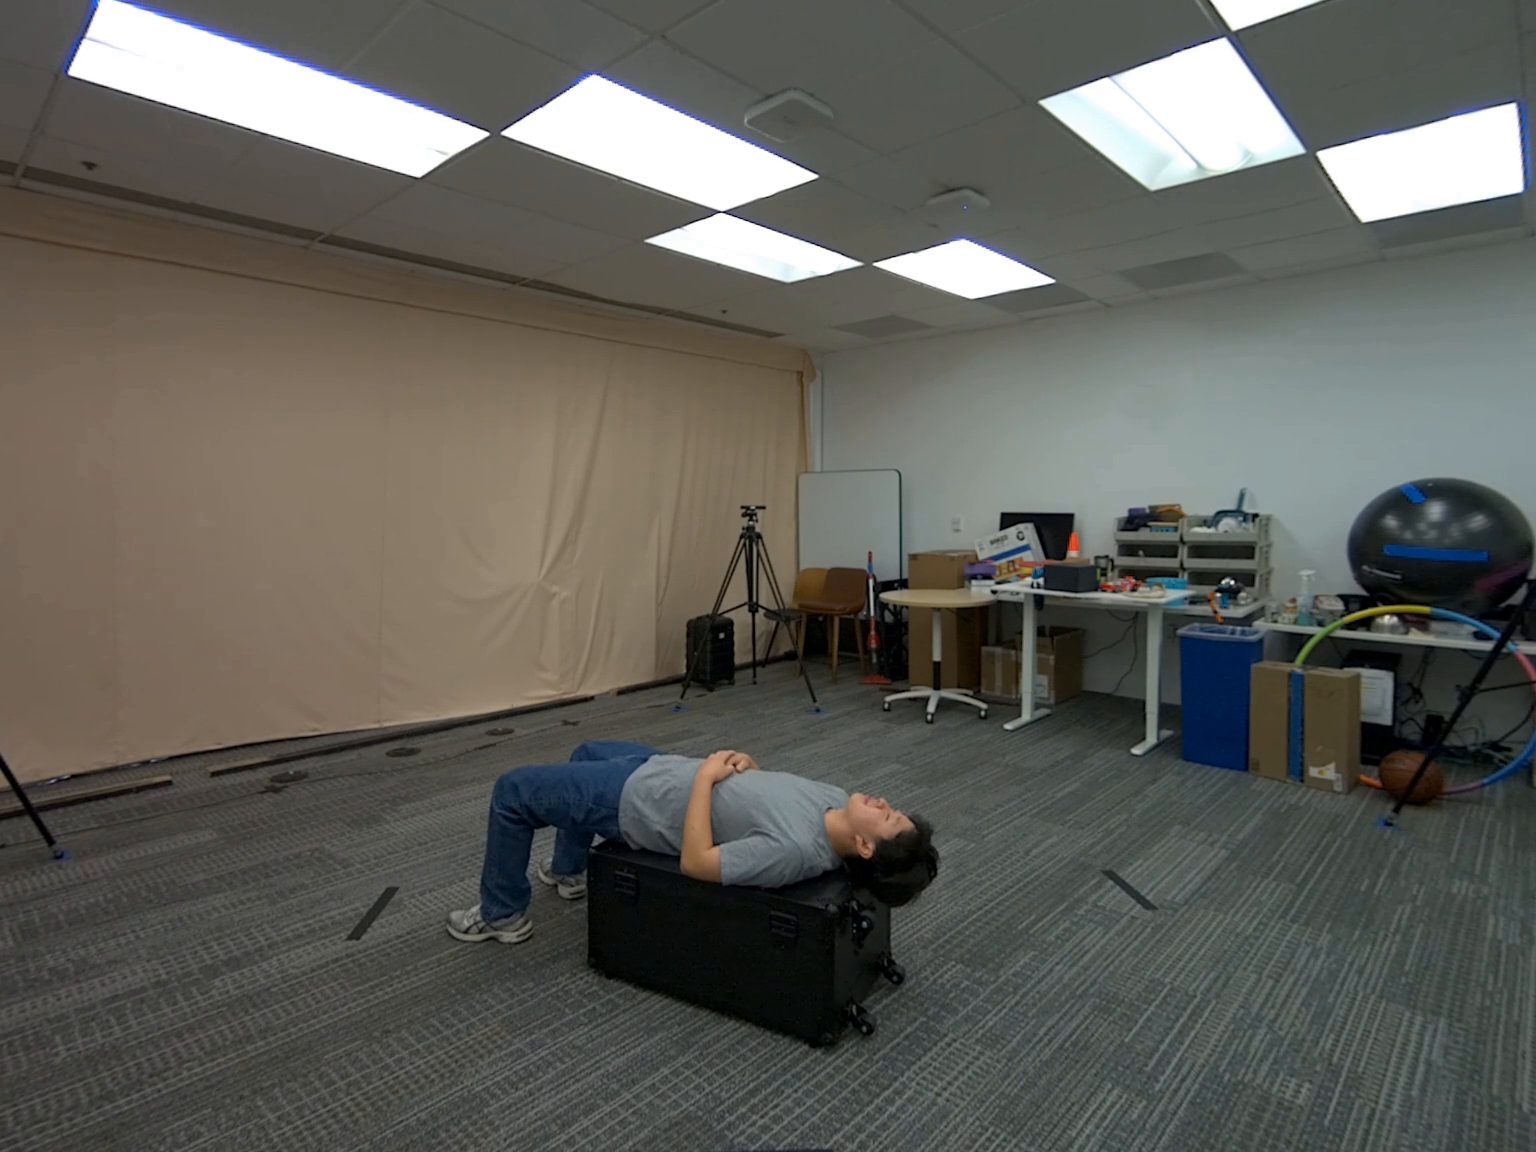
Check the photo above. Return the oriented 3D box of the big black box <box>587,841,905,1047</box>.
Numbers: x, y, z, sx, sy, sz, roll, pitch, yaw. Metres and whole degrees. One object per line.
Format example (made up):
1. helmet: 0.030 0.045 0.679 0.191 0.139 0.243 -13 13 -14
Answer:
1. big black box: -0.052 1.003 2.498 0.885 0.395 0.508 2 4 28
